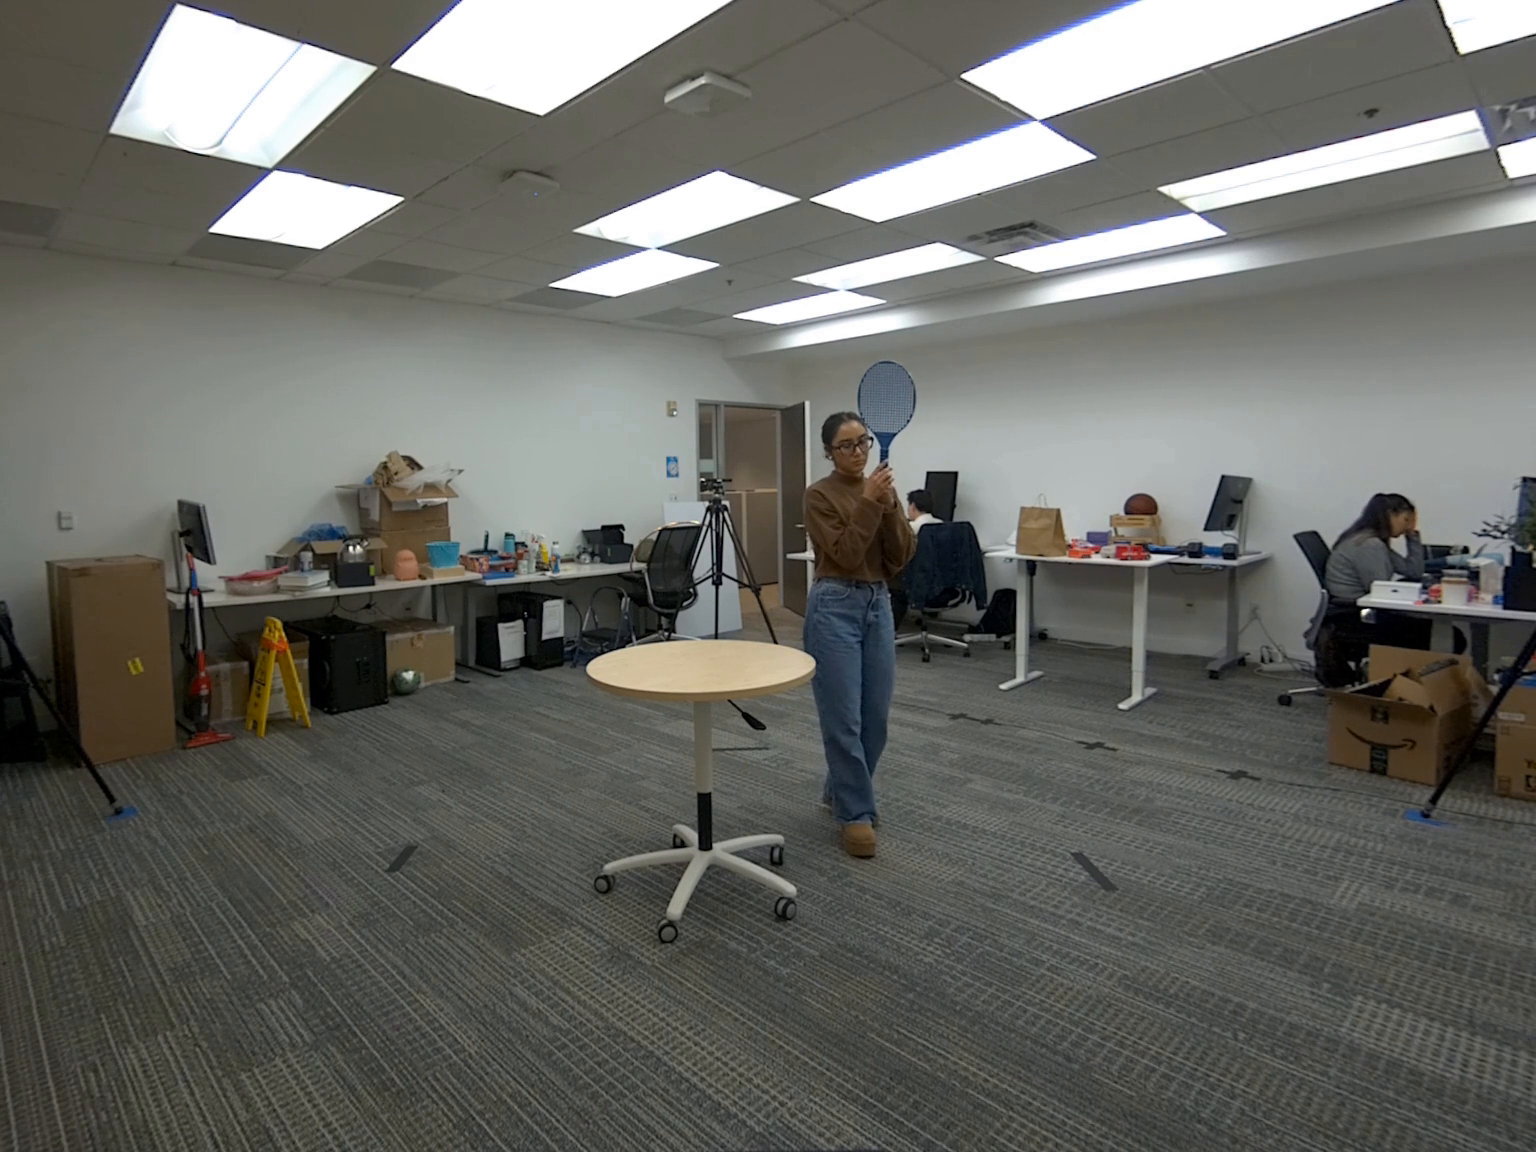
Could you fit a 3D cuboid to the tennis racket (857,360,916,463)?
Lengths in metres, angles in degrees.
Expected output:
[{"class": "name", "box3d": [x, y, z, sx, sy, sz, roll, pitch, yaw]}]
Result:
[{"class": "tennis racket", "box3d": [0.420, -0.553, 3.060, 0.219, 0.428, 0.031, 9, 15, 26]}]
